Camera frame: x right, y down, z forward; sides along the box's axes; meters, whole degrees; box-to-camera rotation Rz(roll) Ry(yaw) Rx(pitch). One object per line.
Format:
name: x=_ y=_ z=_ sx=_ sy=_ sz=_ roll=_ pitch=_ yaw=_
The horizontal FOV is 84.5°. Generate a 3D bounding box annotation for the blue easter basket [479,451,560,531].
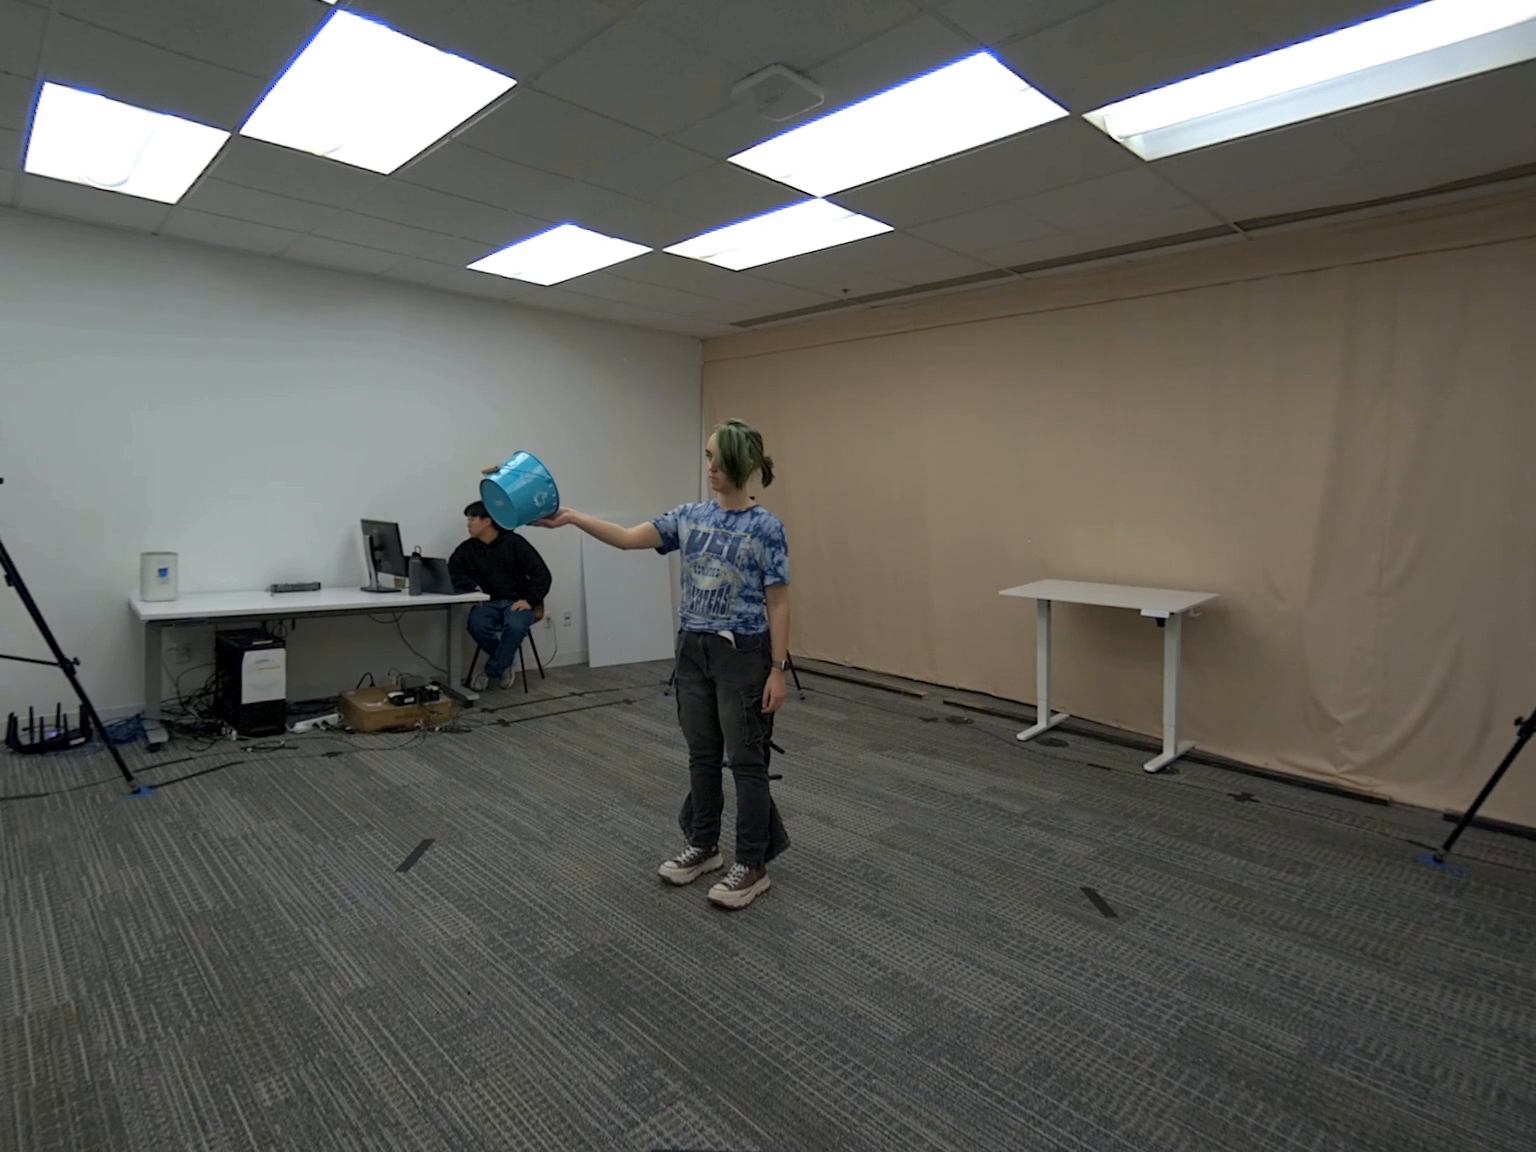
blue easter basket: x=-0.813 y=-0.256 z=2.681 sx=0.250 sy=0.239 sz=0.155 roll=6 pitch=33 yaw=44
